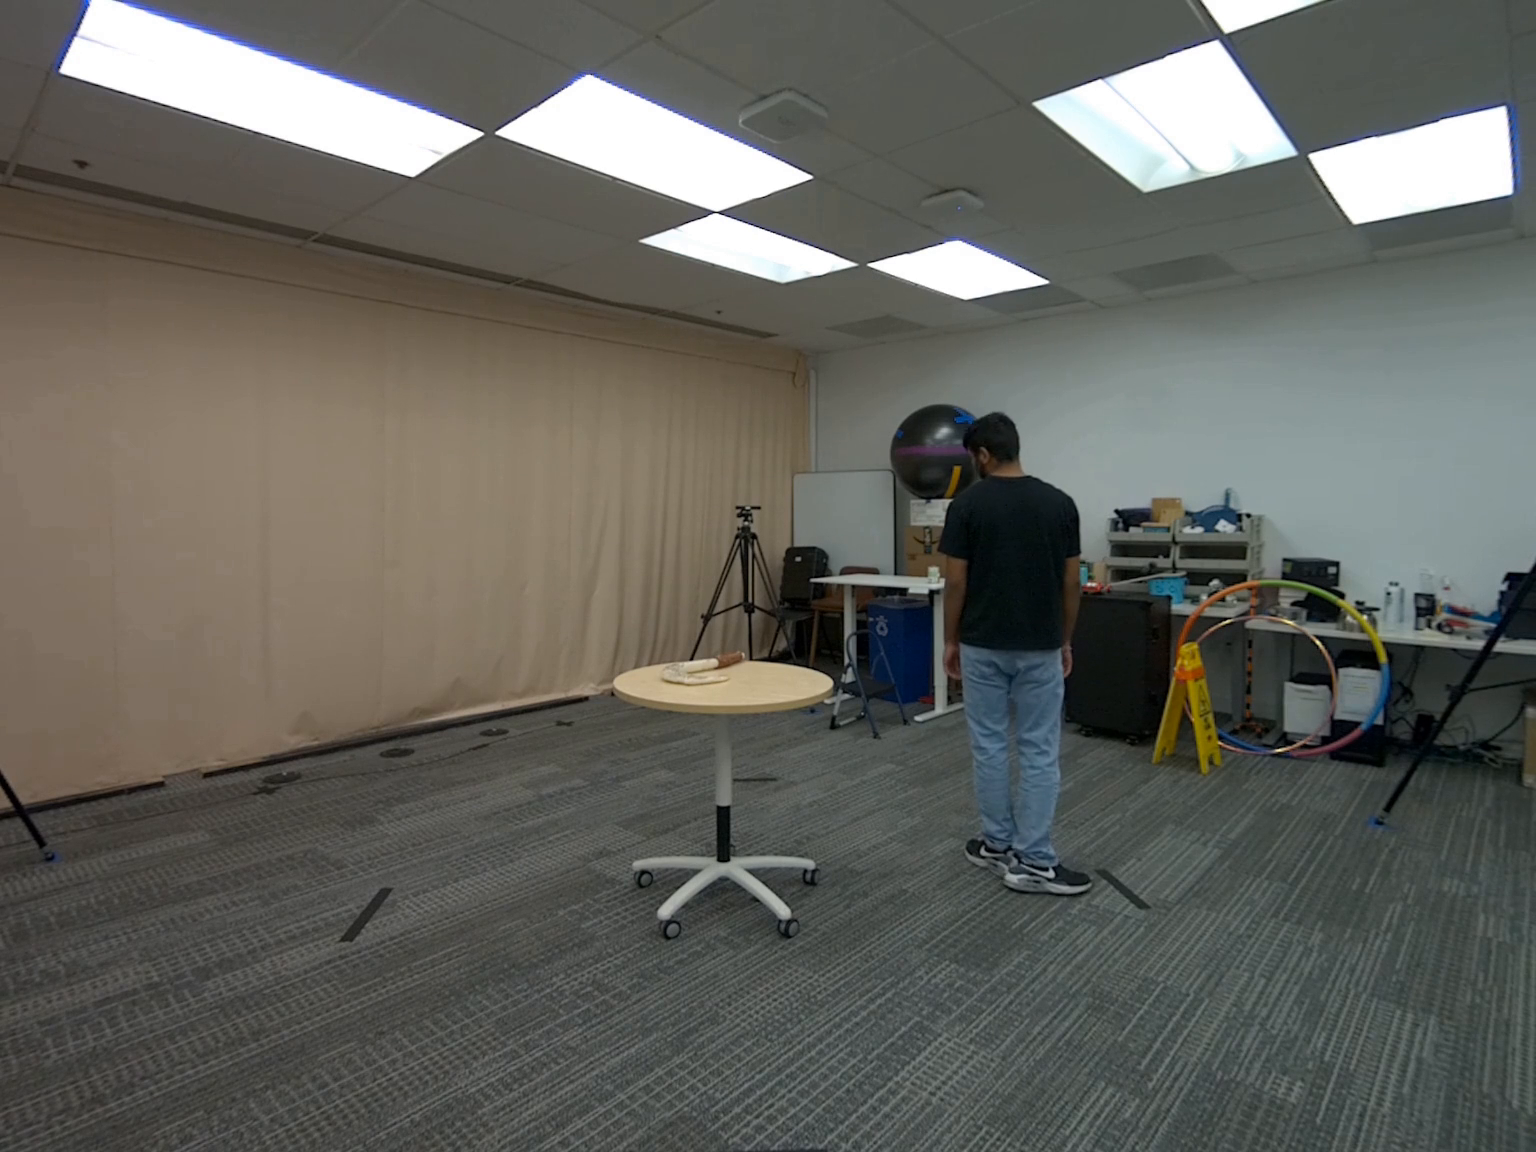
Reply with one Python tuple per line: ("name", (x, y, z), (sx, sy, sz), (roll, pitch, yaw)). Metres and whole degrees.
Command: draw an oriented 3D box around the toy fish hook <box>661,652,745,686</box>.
("toy fish hook", (-0.180, 0.339, 3.091), (0.231, 0.048, 0.493), (6, 7, 32))
